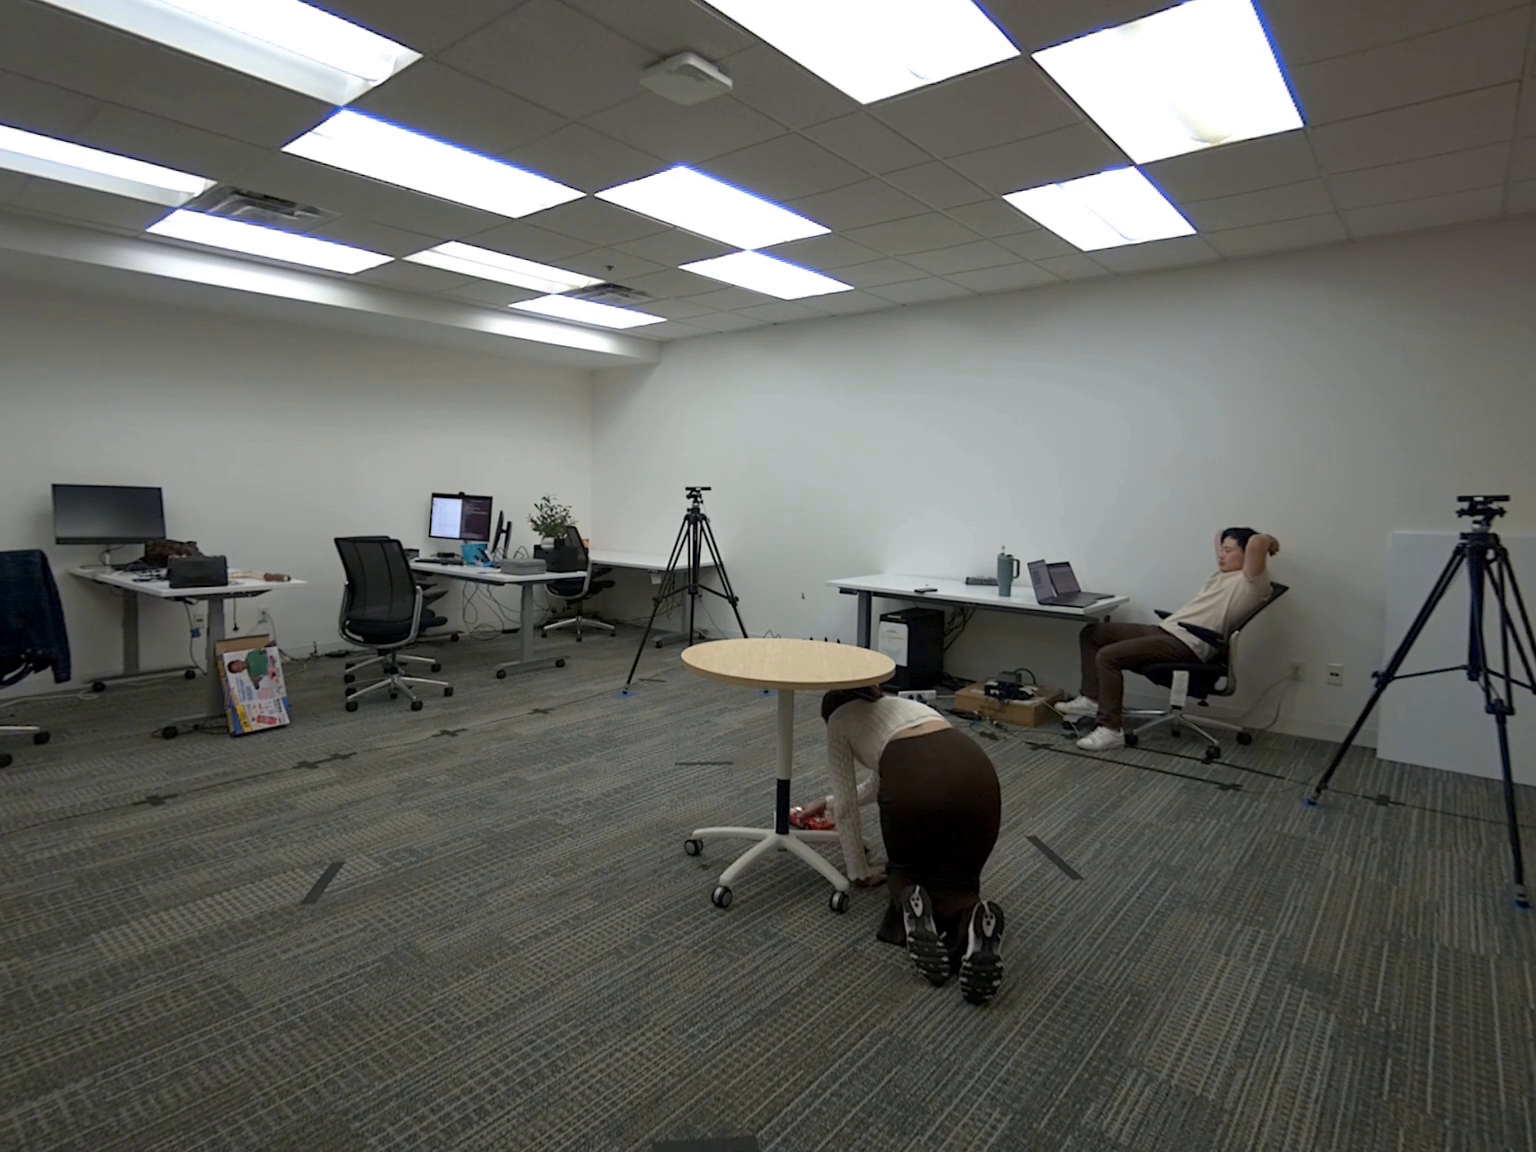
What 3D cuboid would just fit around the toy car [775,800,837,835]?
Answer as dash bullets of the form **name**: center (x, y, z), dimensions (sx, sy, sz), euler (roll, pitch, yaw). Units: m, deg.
- **toy car**: center (0.162, 0.997, 3.489), dimensions (0.126, 0.084, 0.261), euler (2, -6, -36)
